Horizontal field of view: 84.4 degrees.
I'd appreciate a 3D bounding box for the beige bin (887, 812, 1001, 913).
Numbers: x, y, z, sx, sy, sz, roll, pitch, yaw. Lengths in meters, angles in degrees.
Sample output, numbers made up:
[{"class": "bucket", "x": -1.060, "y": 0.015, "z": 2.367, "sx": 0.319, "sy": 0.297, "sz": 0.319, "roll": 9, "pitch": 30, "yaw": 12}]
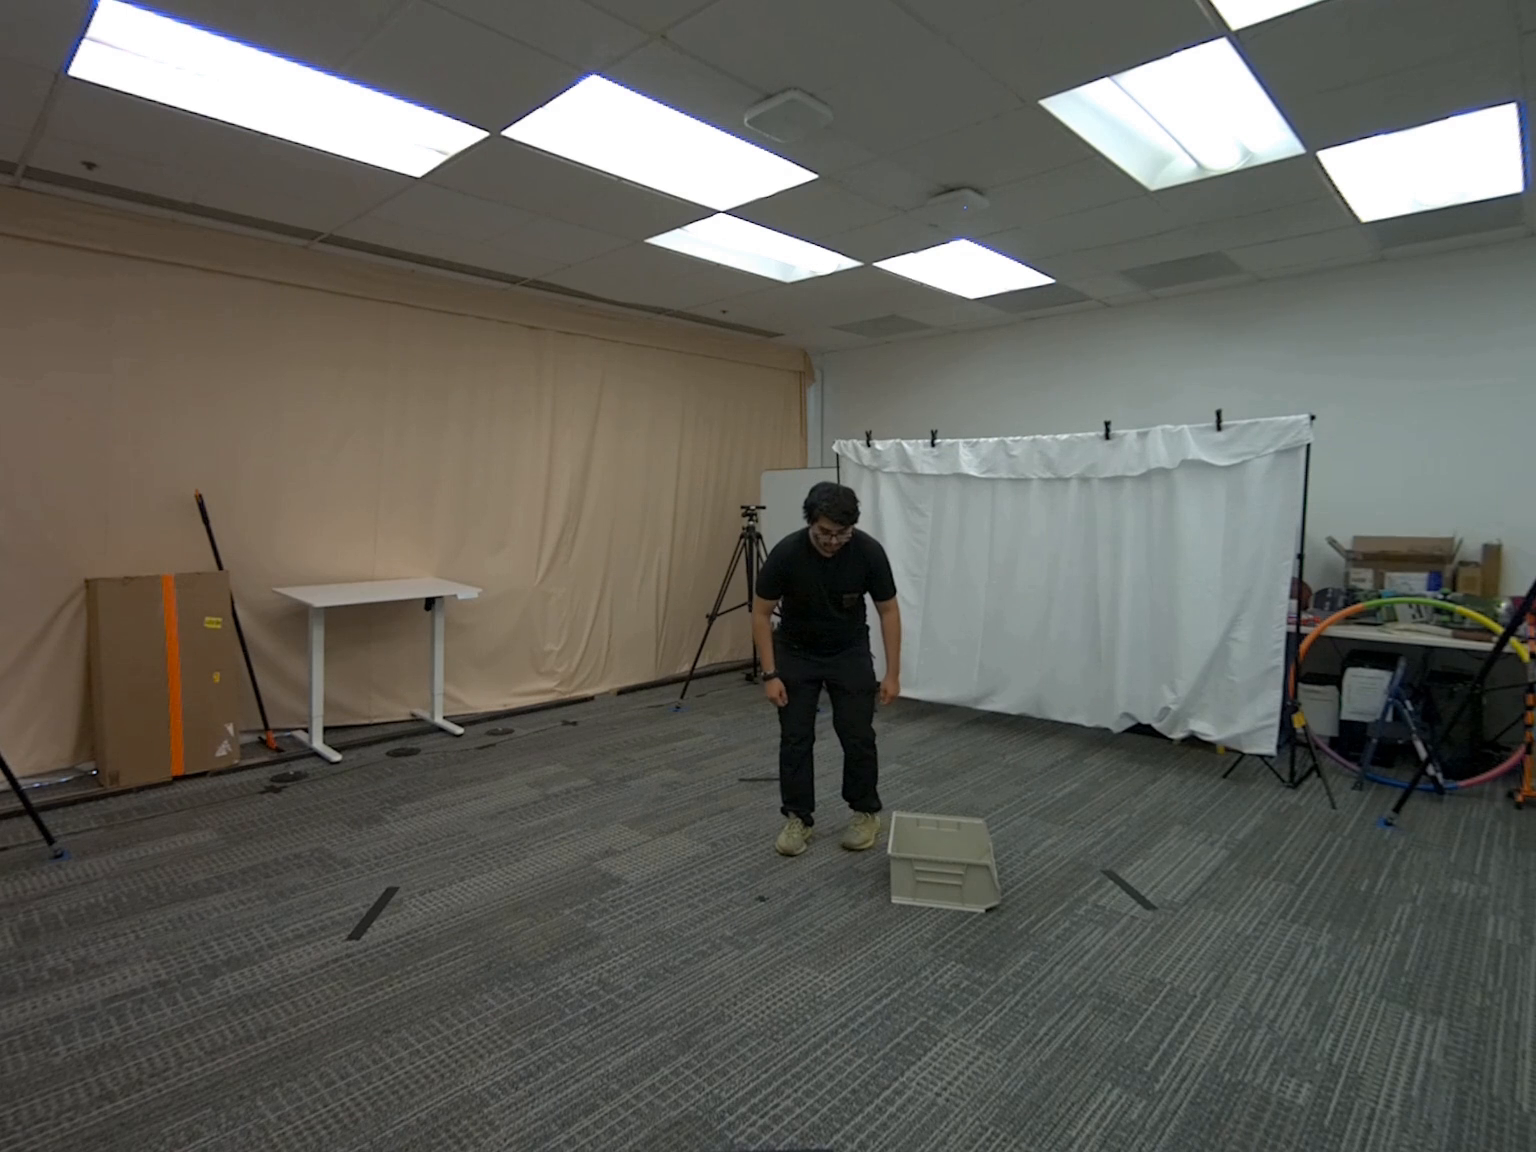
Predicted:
[{"class": "beige bin", "x": 0.651, "y": 1.045, "z": 3.100, "sx": 0.383, "sy": 0.188, "sz": 0.417, "roll": 0, "pitch": 5, "yaw": 12}]
